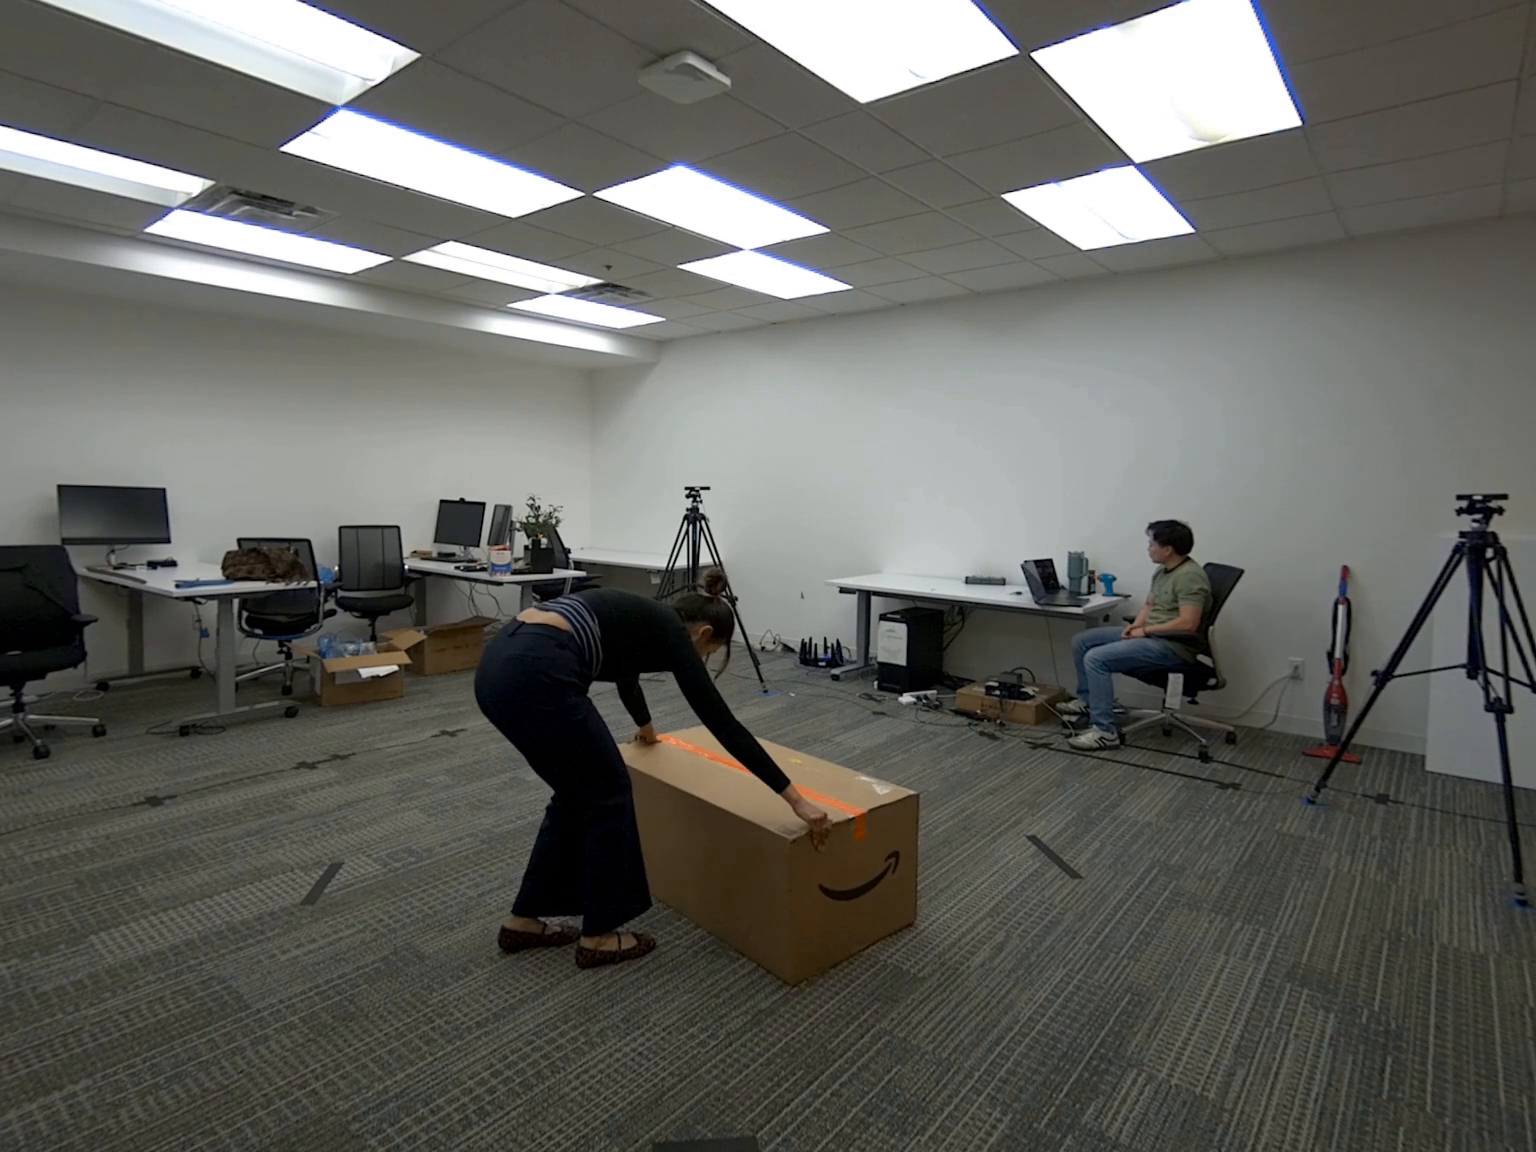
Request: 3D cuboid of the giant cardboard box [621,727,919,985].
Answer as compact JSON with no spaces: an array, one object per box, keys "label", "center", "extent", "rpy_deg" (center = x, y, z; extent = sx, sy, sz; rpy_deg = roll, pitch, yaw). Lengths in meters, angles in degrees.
[{"label":"giant cardboard box","center":[-0.085,0.869,2.930],"extent":[0.560,0.425,1.061],"rpy_deg":[-3,6,-42]}]
